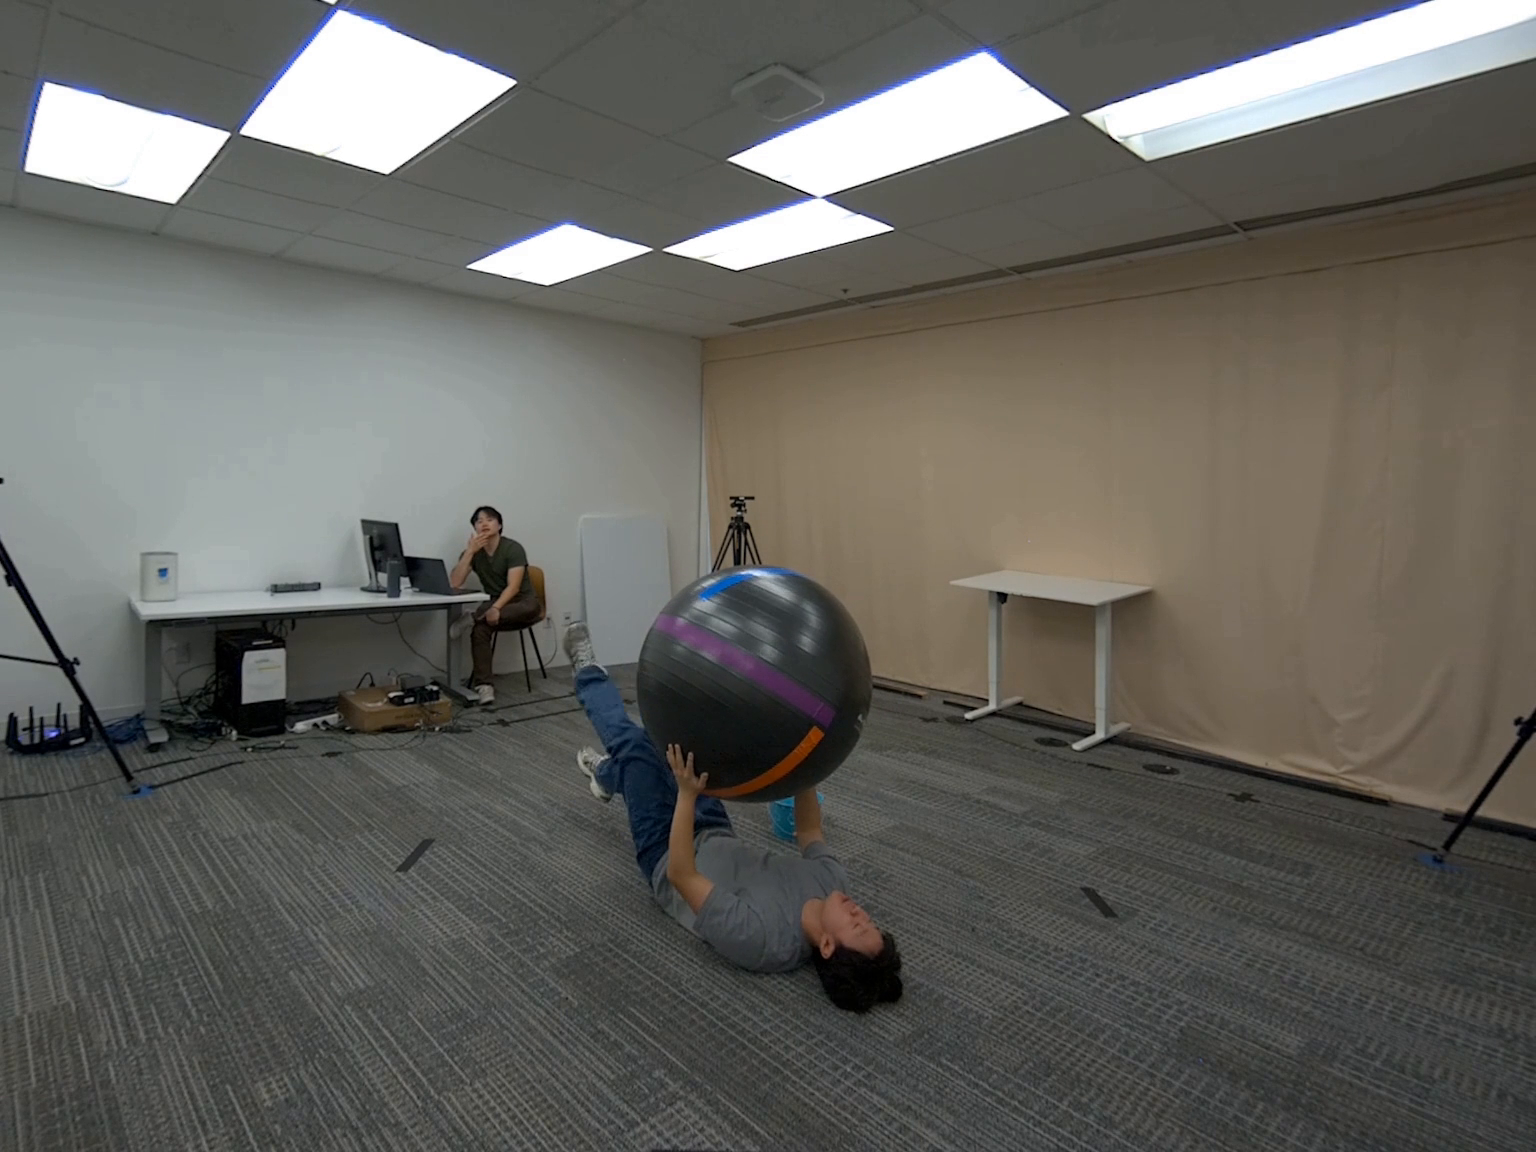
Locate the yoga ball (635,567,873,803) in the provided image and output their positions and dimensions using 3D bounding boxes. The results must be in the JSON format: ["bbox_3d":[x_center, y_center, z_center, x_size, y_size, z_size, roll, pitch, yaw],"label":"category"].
[{"bbox_3d":[-0.044,0.346,2.738,0.757,0.756,0.761,1,4,-1],"label":"yoga ball"}]
